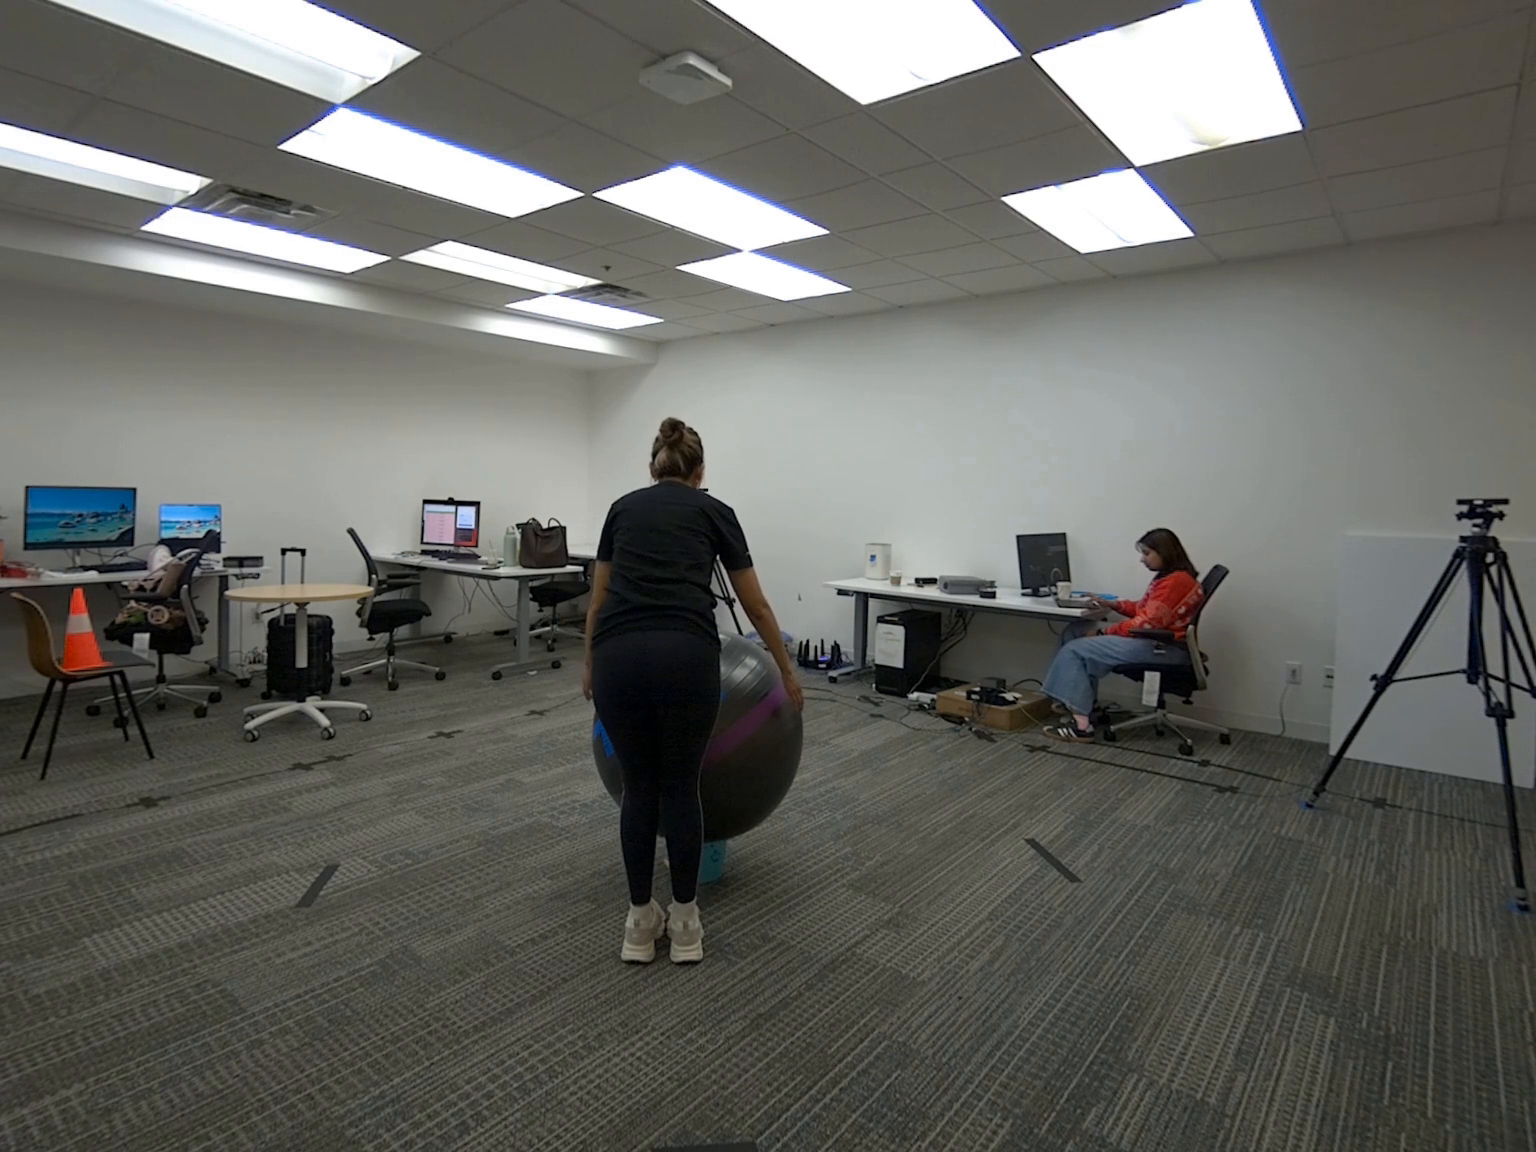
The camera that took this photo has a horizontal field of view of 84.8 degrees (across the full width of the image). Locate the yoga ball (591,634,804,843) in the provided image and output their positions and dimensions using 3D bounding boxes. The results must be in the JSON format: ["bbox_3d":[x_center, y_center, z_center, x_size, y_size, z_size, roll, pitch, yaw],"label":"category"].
[{"bbox_3d":[-0.261,0.562,3.066,0.757,0.756,0.762,1,4,-2],"label":"yoga ball"}]
